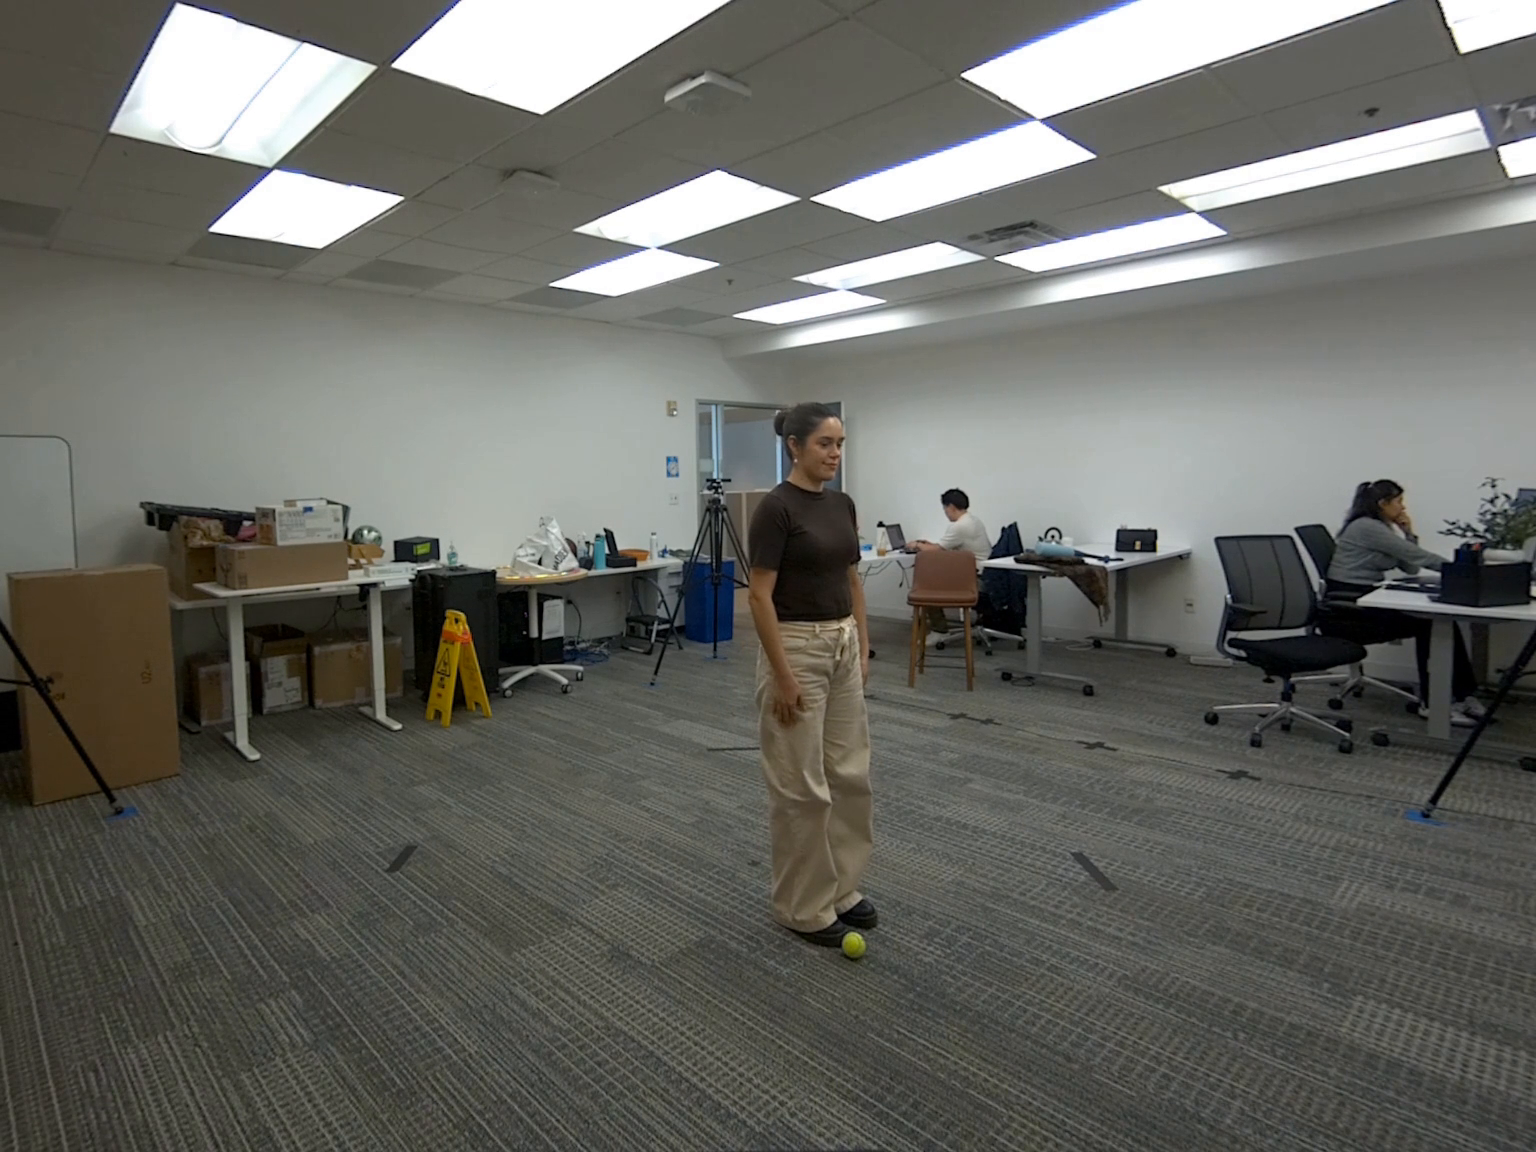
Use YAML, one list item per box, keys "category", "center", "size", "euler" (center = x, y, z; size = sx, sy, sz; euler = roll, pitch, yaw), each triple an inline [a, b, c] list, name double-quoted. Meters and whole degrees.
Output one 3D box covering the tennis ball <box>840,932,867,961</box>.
- category: "tennis ball"
  center: [0.266, 1.075, 2.493]
  size: [0.066, 0.066, 0.067]
  euler: [-1, 5, -2]
